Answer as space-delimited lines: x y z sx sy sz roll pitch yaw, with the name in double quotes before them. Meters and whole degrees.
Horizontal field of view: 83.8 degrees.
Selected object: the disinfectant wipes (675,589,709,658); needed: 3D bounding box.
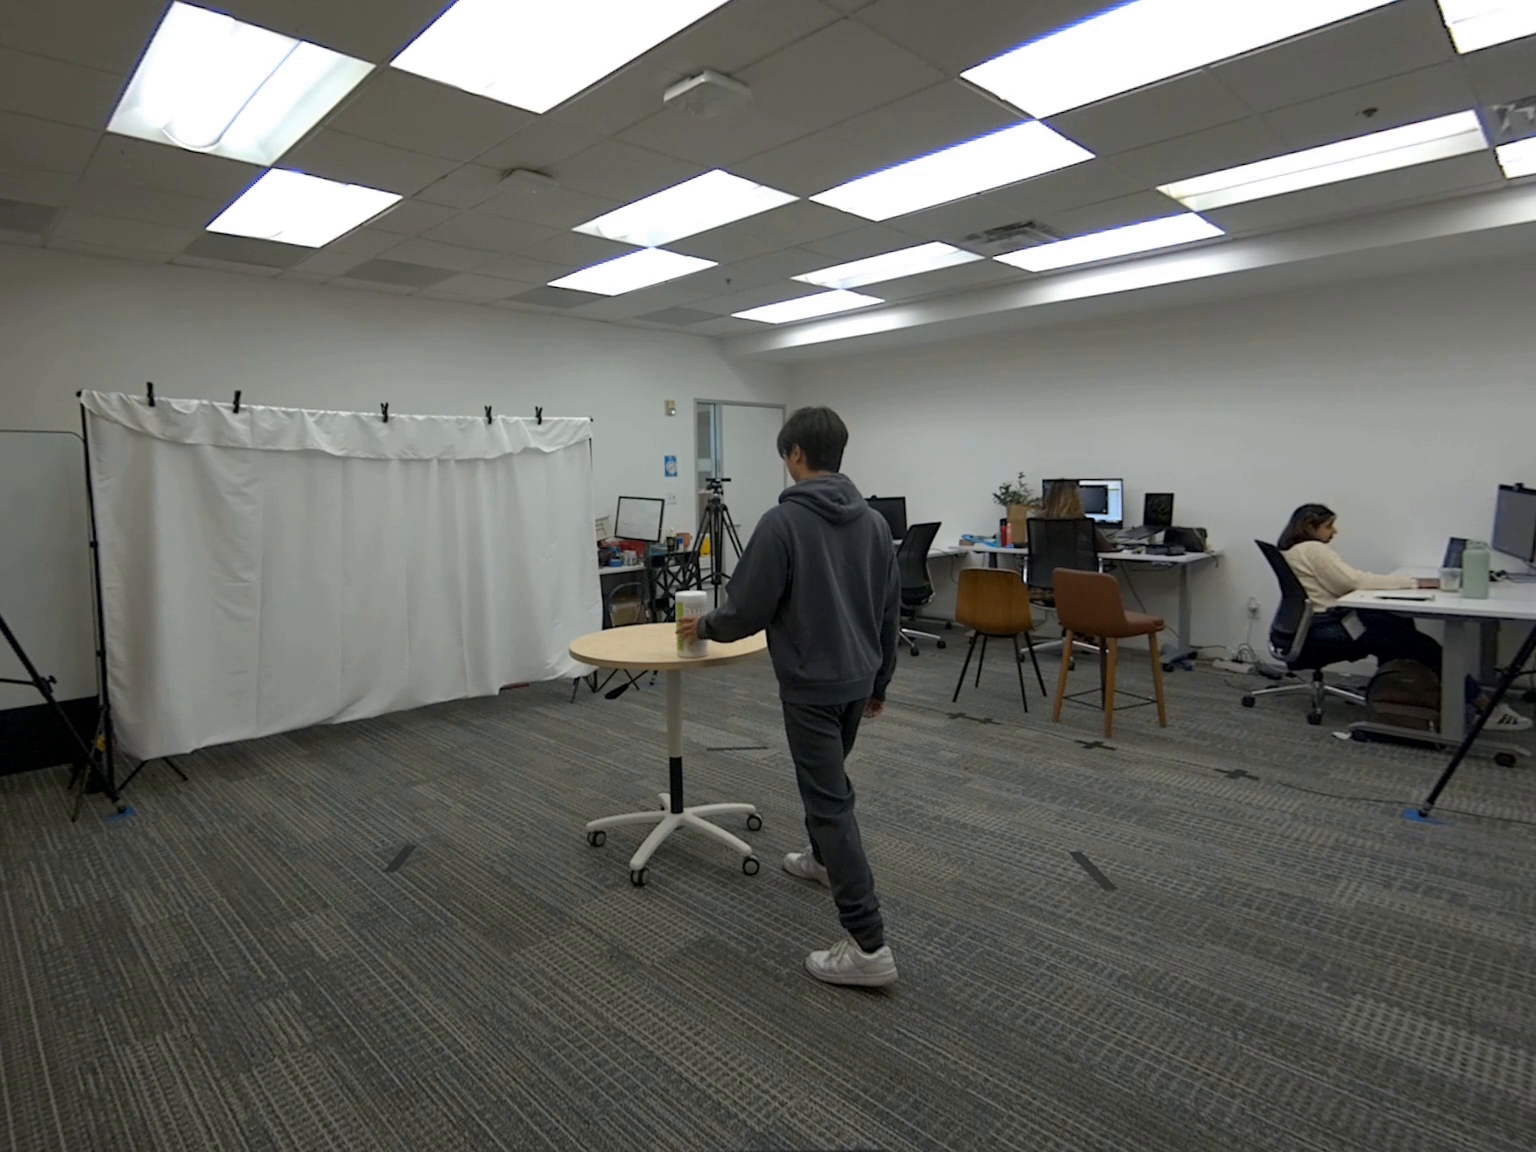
"disinfectant wipes" -0.252 0.161 2.906 0.118 0.216 0.118 -1 4 -2
